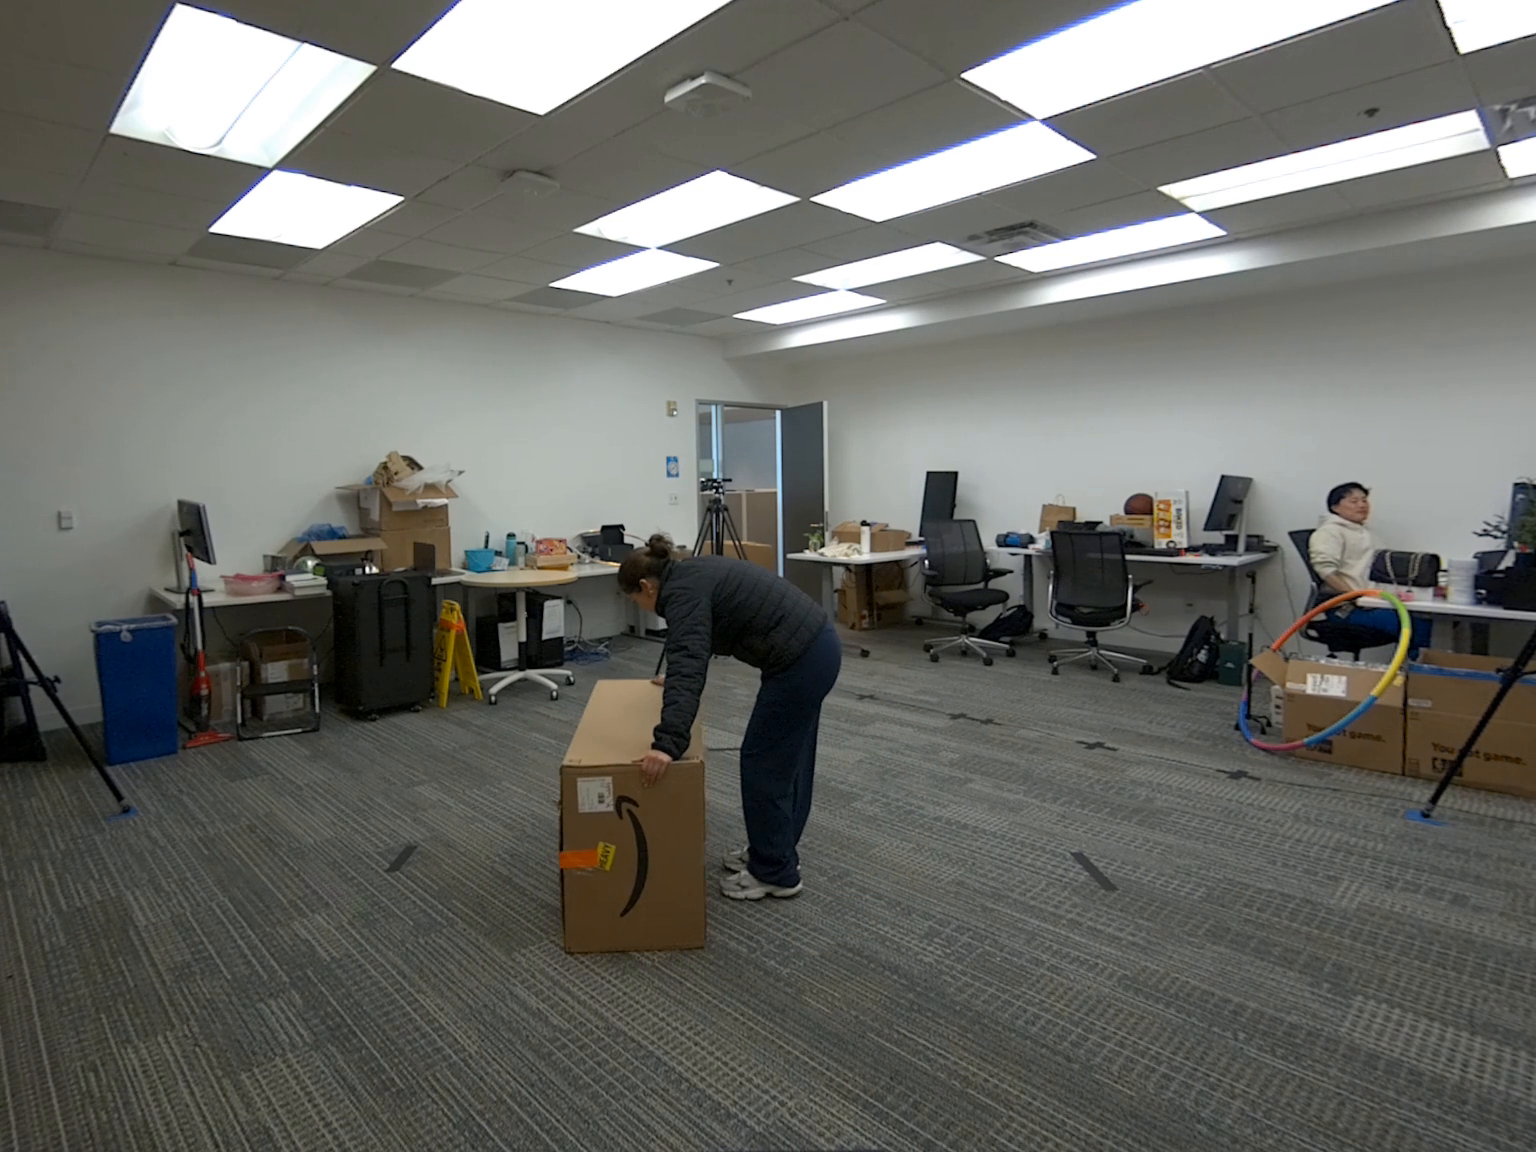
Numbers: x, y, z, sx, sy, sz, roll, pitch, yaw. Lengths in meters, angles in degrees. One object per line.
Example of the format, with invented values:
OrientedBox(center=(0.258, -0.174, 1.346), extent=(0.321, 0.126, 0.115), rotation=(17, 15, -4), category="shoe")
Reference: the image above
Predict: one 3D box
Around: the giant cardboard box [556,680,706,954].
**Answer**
OrientedBox(center=(-0.452, 0.771, 3.039), extent=(0.445, 0.581, 1.035), rotation=(0, 6, -5), category="giant cardboard box")
